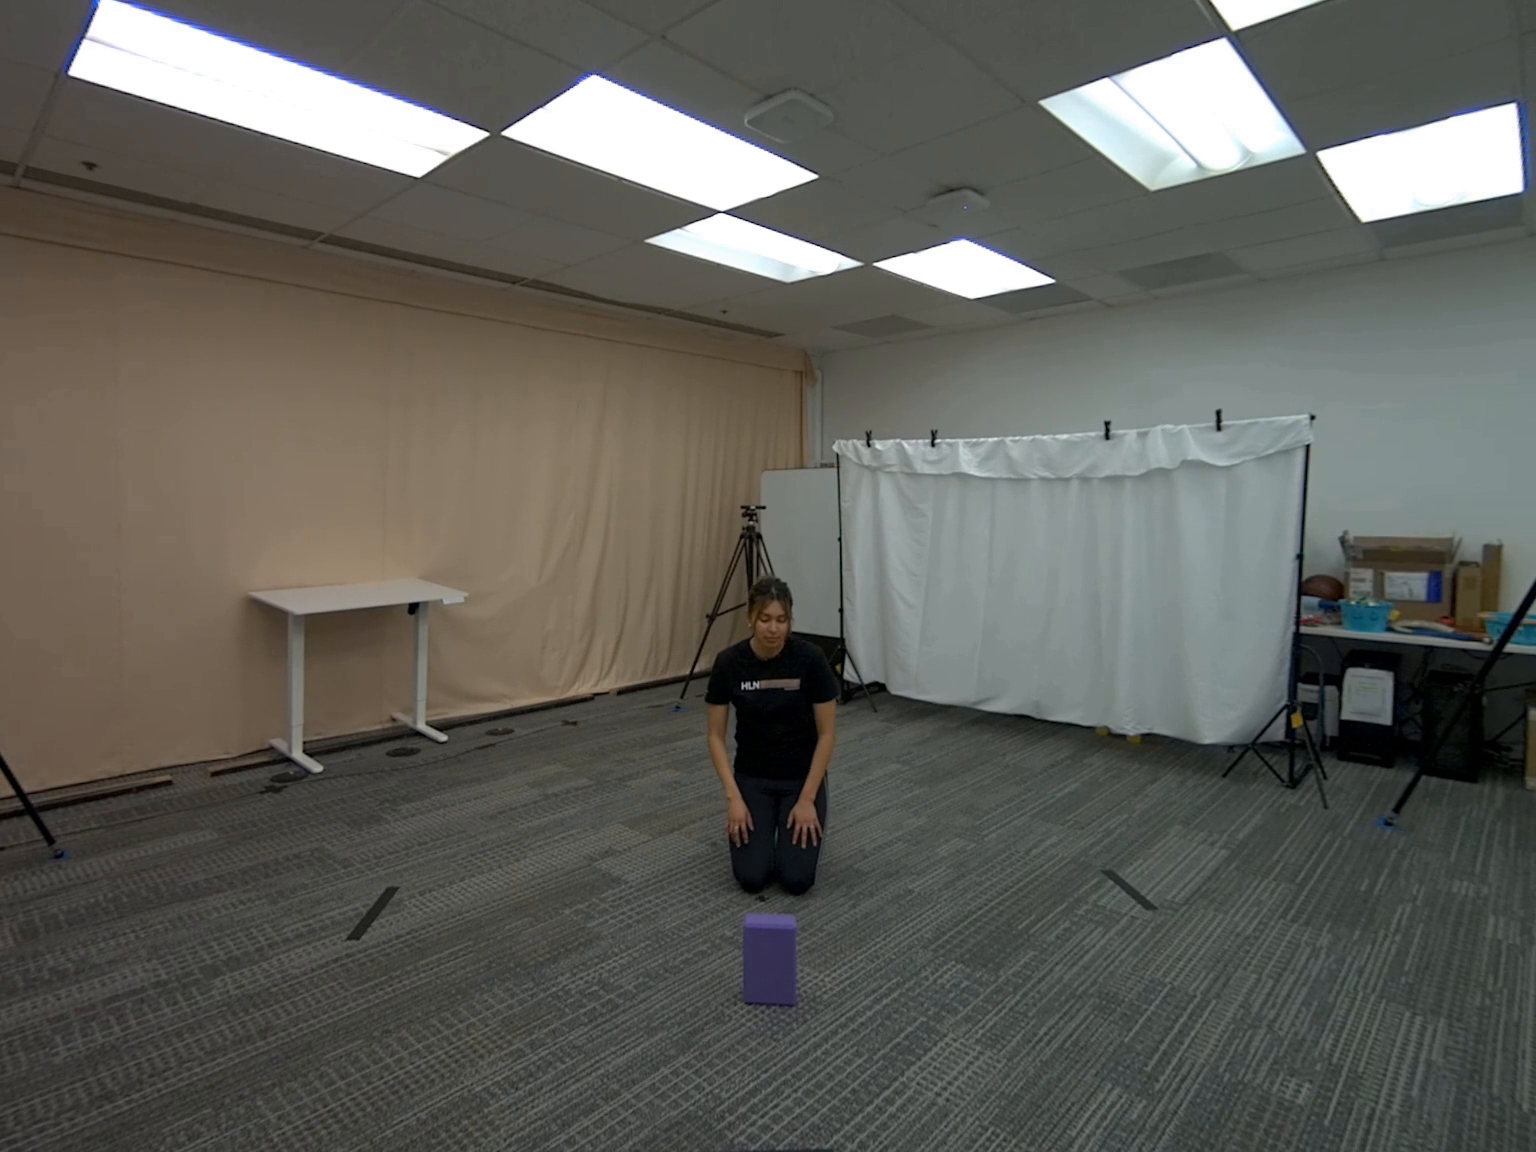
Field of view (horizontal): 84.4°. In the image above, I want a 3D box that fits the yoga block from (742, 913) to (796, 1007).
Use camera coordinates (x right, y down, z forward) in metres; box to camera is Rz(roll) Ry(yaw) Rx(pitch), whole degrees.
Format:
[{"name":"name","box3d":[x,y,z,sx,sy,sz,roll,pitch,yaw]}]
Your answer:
[{"name":"yoga block","box3d":[0.008,1.076,2.374,0.150,0.229,0.076,2,3,4]}]
